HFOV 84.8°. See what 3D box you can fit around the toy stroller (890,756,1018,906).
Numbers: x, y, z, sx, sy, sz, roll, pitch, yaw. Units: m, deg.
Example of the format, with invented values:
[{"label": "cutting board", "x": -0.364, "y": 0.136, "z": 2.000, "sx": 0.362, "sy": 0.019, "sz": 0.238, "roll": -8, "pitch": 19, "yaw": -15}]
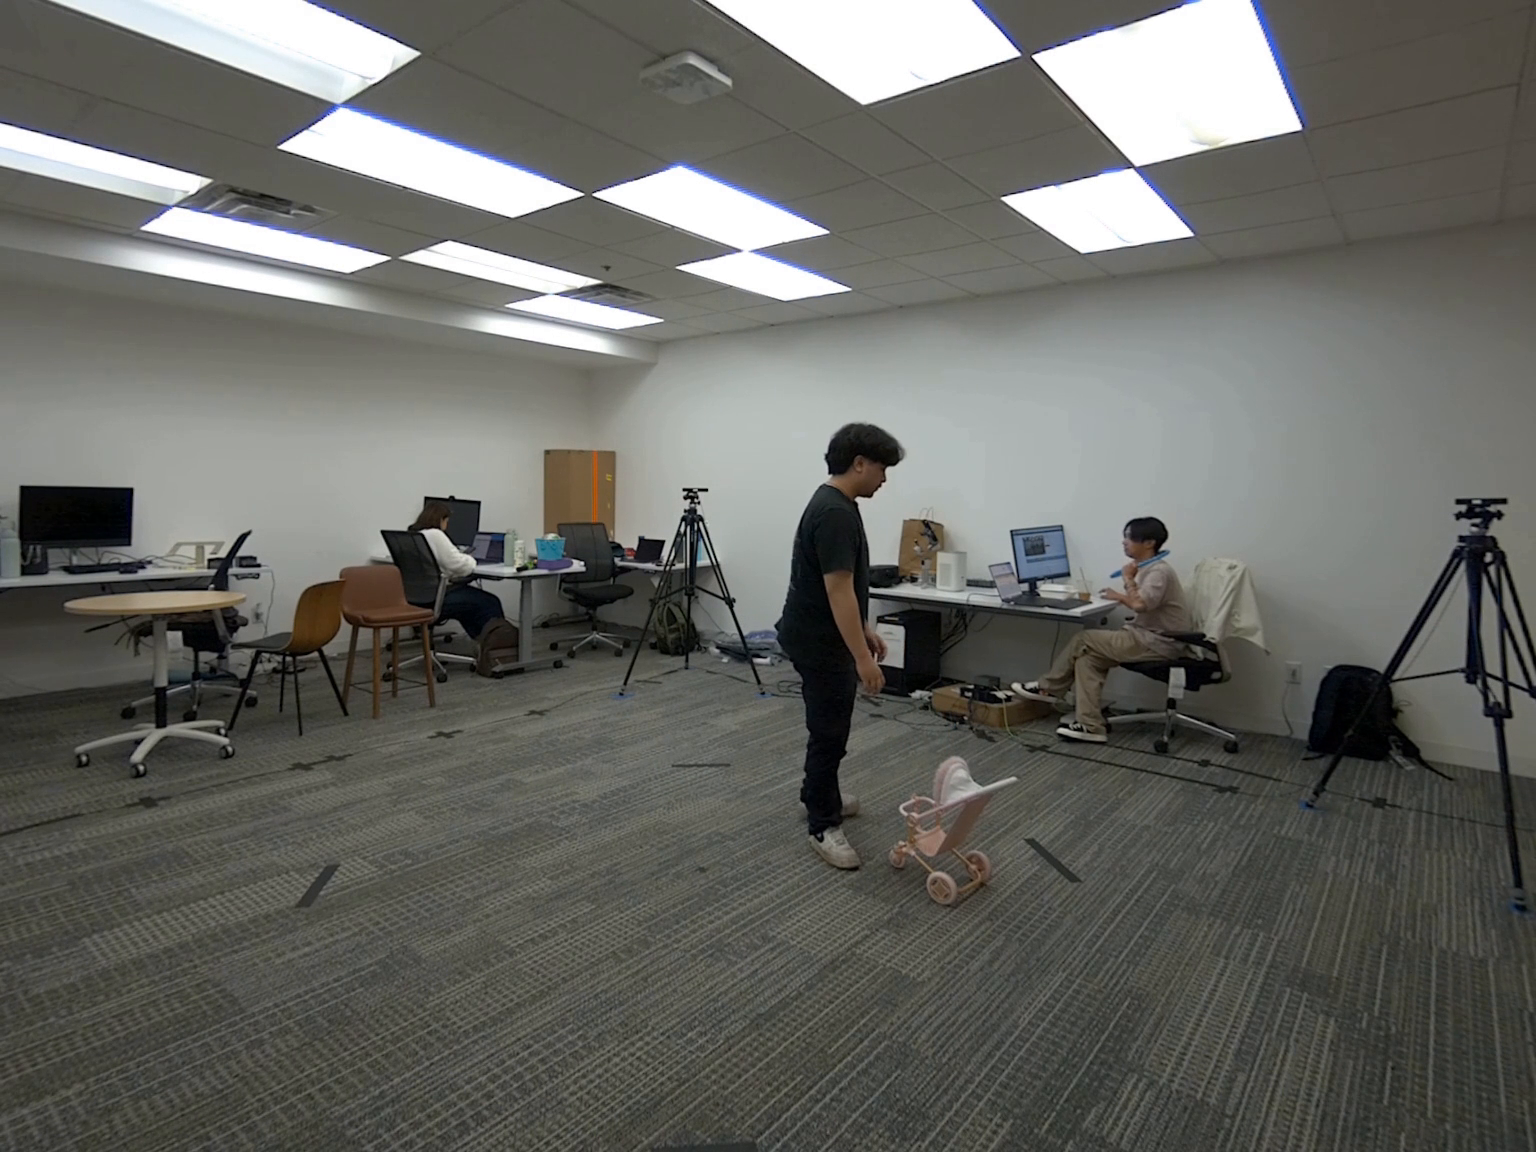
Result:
[{"label": "toy stroller", "x": 0.627, "y": 0.879, "z": 3.017, "sx": 0.273, "sy": 0.529, "sz": 0.356, "roll": -1, "pitch": 20, "yaw": -43}]
